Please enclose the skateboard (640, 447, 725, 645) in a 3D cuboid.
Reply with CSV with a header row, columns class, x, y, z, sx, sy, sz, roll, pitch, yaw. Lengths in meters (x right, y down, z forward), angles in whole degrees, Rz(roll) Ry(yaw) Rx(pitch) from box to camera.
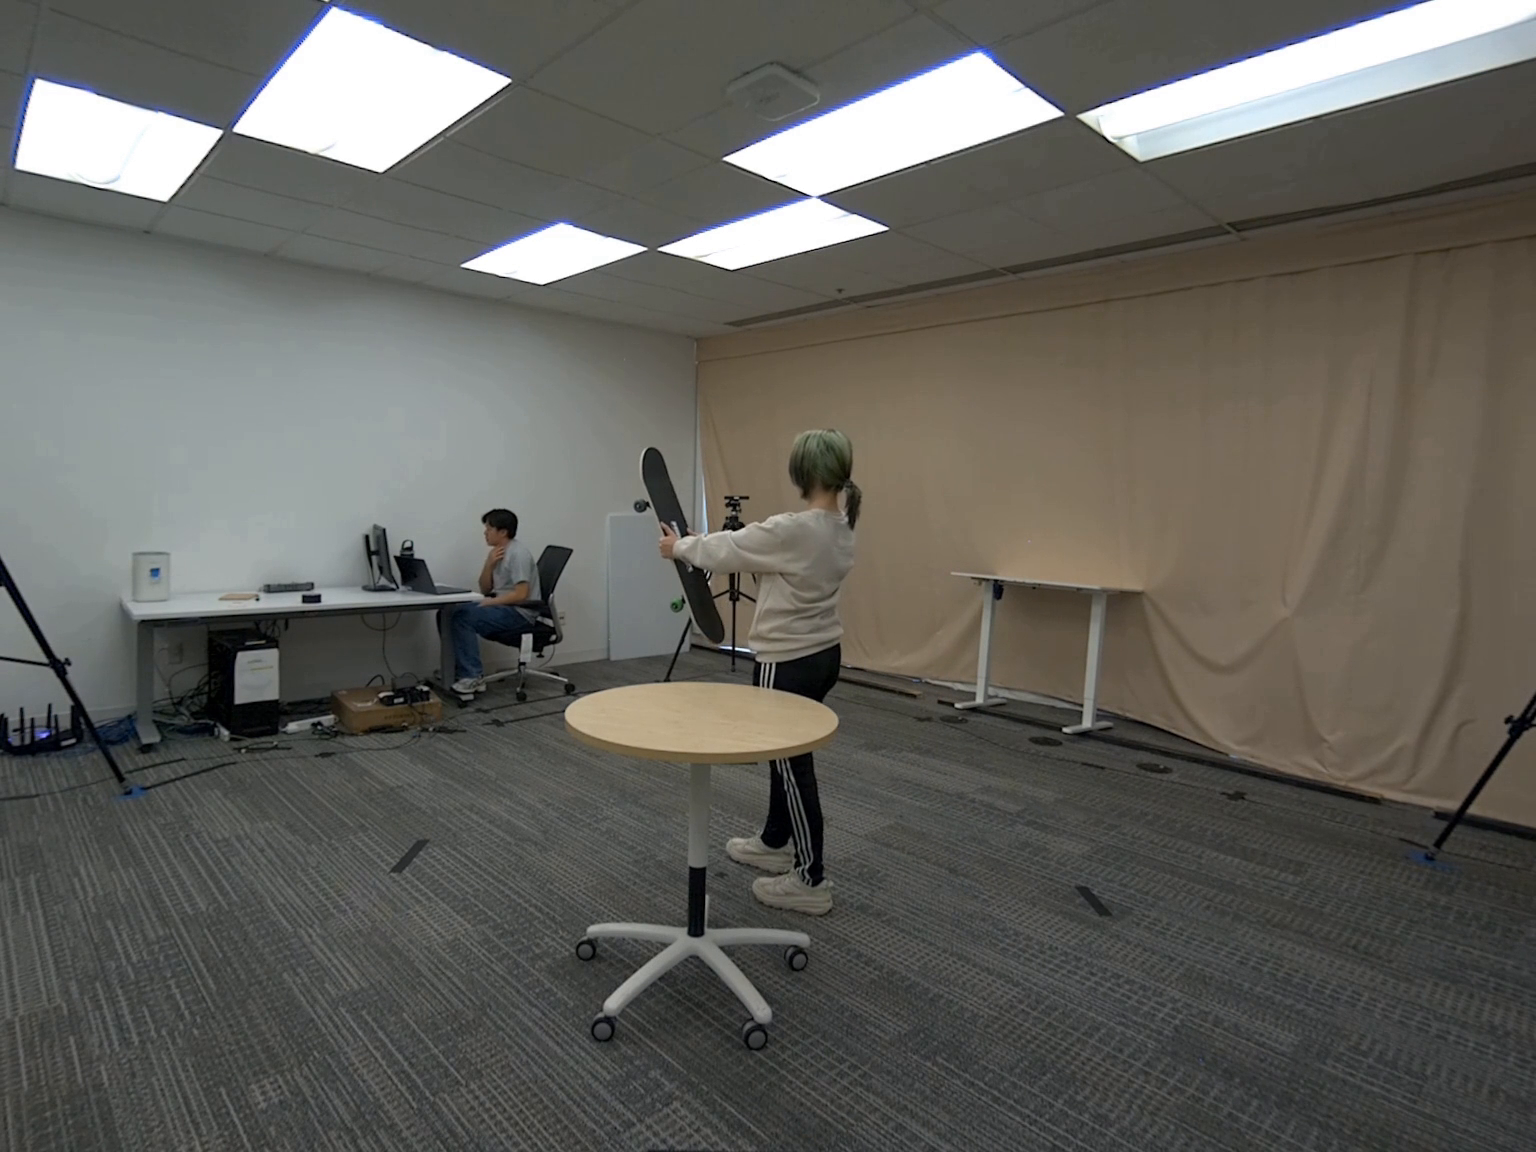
class,x,y,z,sx,sy,sz,roll,pitch,yaw
skateboard,-0.364,-0.096,3.202,0.112,0.782,0.192,-18,5,27
